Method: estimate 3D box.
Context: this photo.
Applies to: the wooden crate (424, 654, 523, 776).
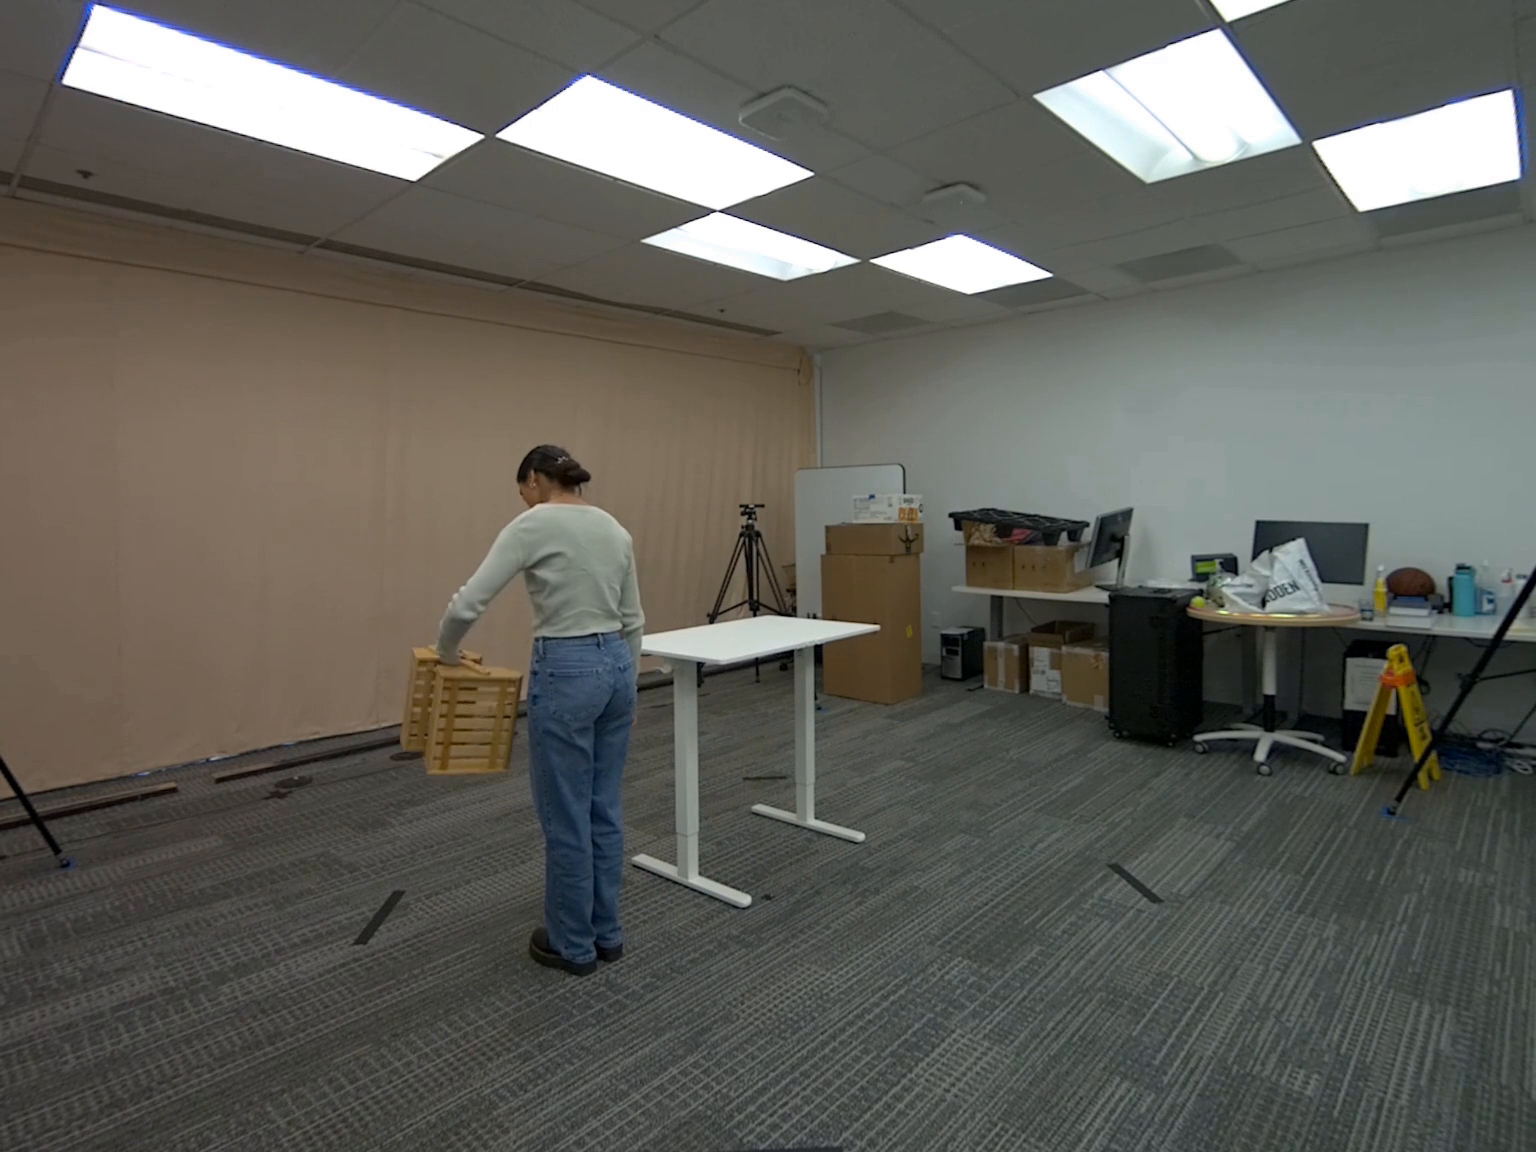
[{"bbox_3d":[-0.941,0.406,2.583,0.293,0.323,0.282,6,10,-29],"label":"wooden crate"}]
